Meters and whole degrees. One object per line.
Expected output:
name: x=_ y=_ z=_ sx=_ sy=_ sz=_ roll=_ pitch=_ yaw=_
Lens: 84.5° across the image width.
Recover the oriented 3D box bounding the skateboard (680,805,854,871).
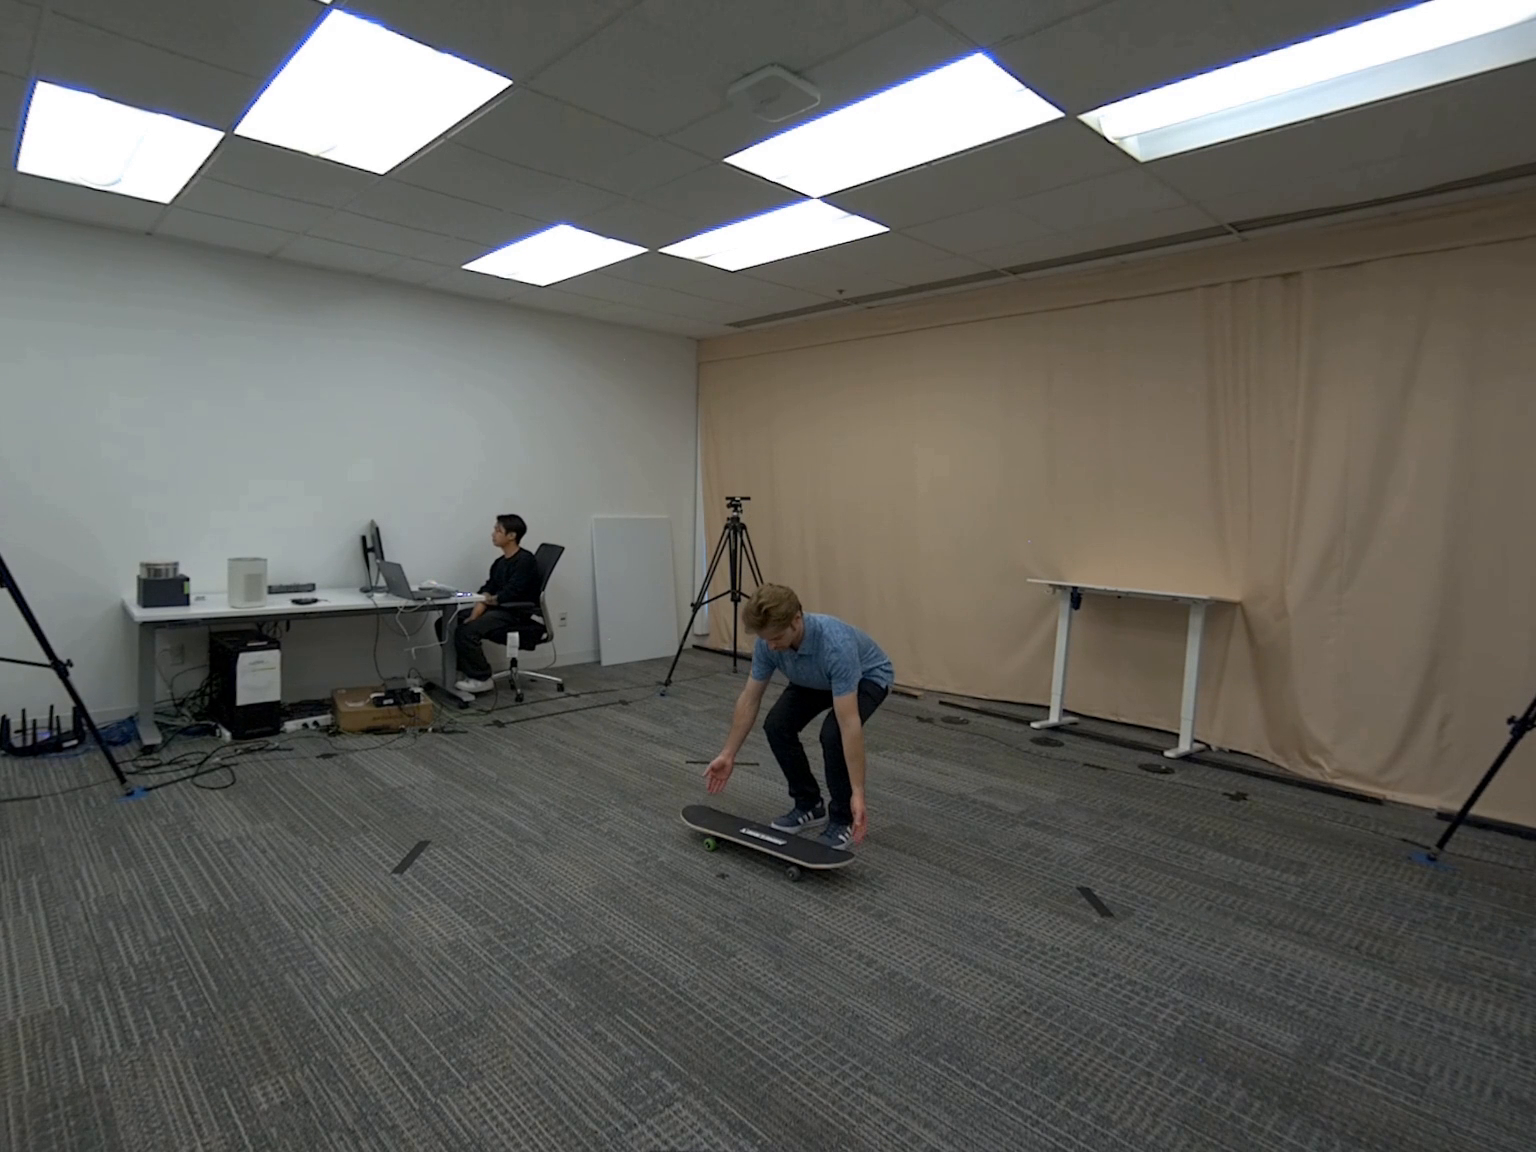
skateboard: x=-0.020 y=1.033 z=3.264 sx=0.805 sy=0.110 sz=0.189 roll=6 pitch=6 yaw=38
